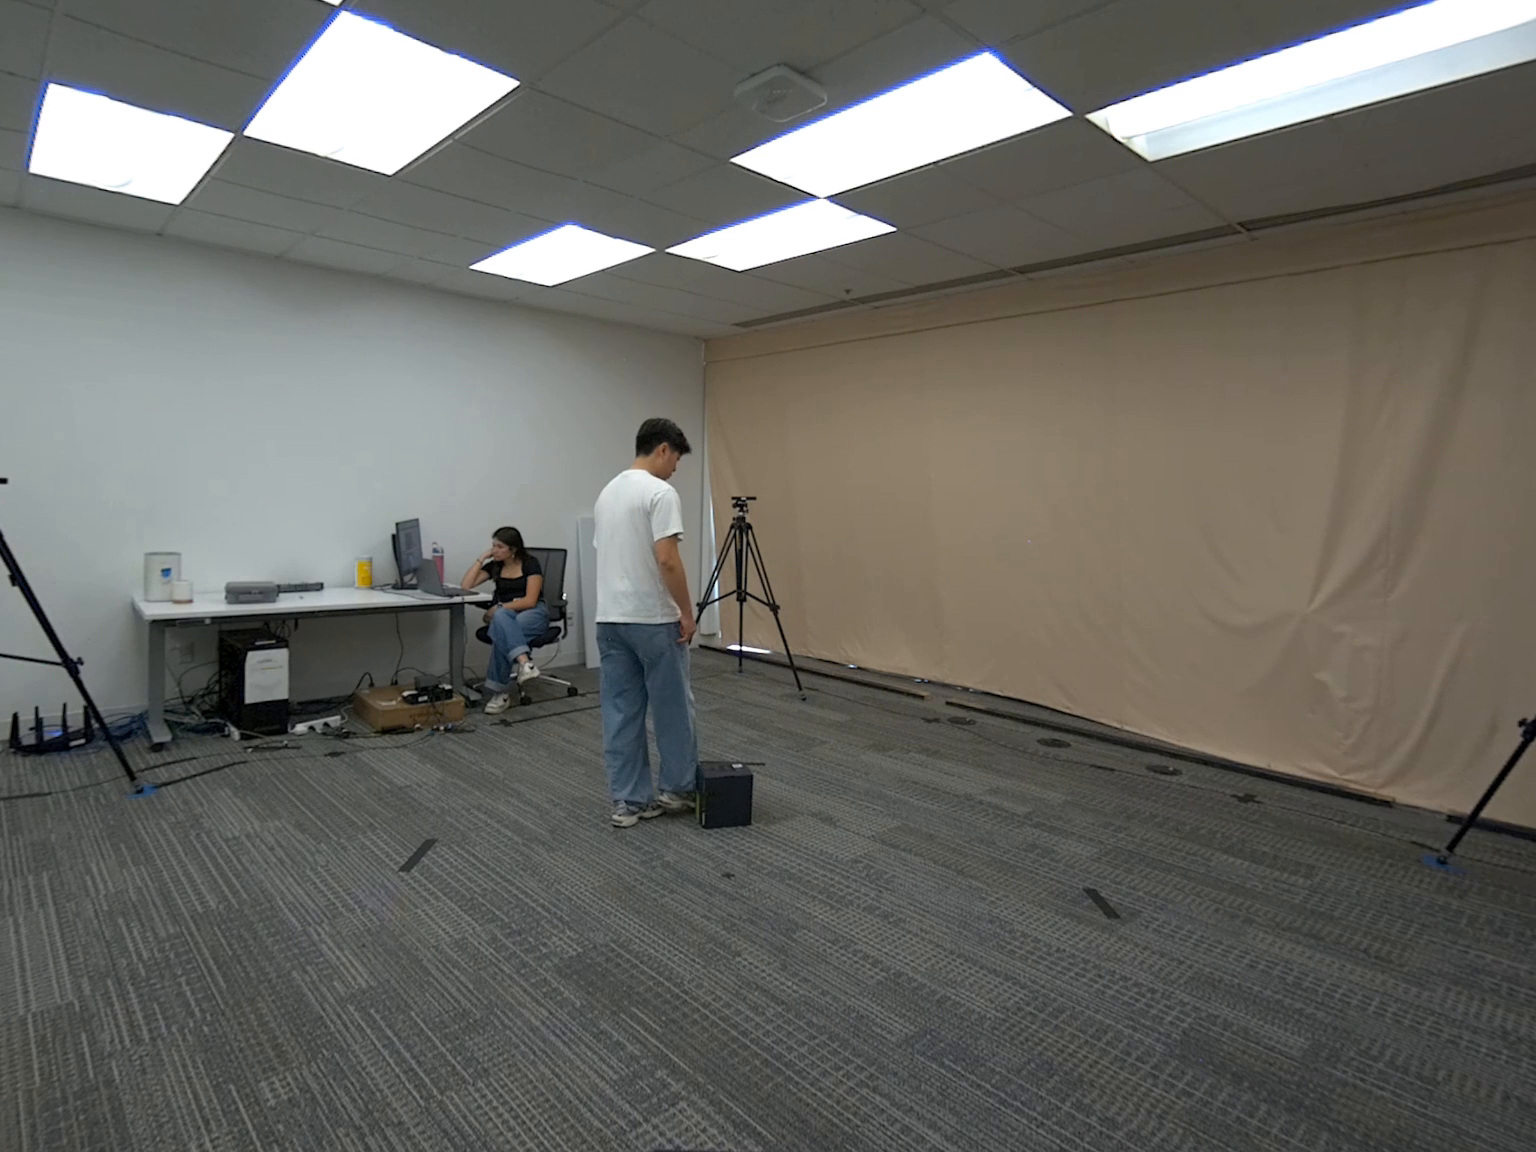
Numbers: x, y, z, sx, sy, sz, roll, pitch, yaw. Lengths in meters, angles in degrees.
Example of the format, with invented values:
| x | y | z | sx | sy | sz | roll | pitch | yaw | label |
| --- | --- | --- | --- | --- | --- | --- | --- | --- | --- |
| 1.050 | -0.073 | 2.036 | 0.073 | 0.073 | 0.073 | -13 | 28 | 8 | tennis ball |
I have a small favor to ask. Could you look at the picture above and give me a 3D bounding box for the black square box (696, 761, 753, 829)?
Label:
| x | y | z | sx | sy | sz | roll | pitch | yaw | label |
| --- | --- | --- | --- | --- | --- | --- | --- | --- | --- |
| -0.200 | 0.936 | 3.623 | 0.214 | 0.227 | 0.159 | 0 | 6 | -18 | black square box |
